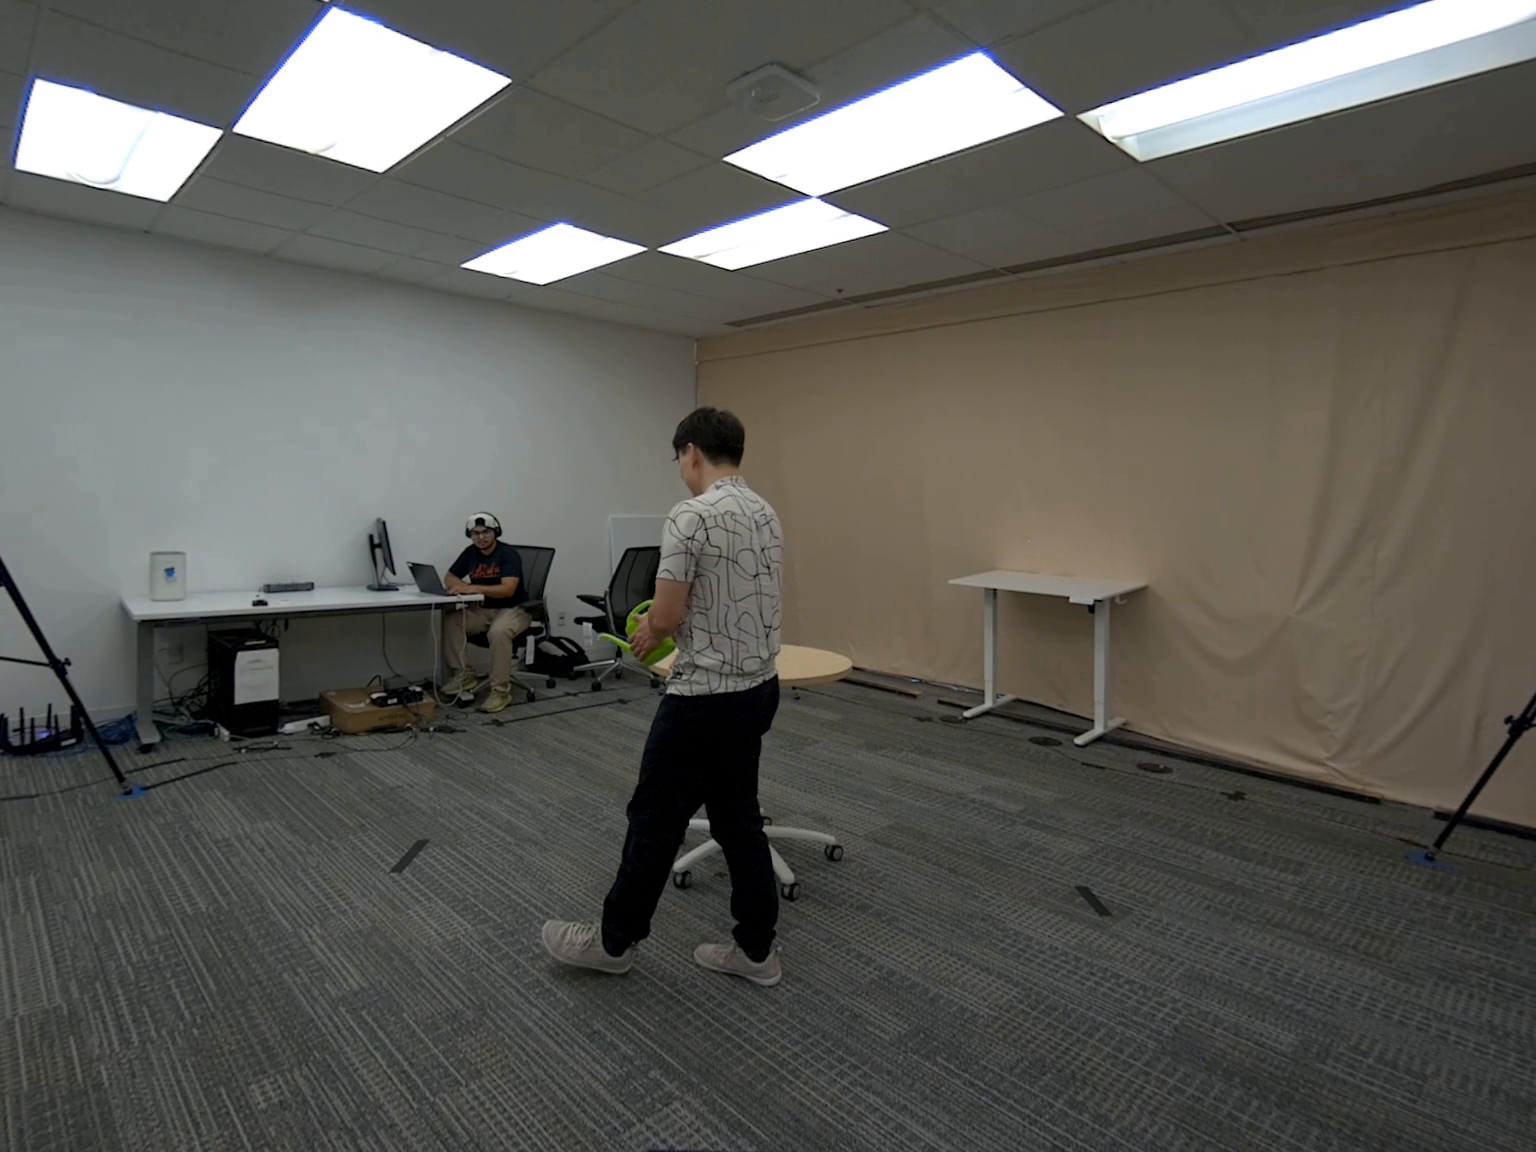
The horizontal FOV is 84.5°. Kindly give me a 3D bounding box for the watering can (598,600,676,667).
[{"bbox_3d":[-0.406,0.197,2.627,0.096,0.180,0.279,-4,-28,-48],"label":"watering can"}]
